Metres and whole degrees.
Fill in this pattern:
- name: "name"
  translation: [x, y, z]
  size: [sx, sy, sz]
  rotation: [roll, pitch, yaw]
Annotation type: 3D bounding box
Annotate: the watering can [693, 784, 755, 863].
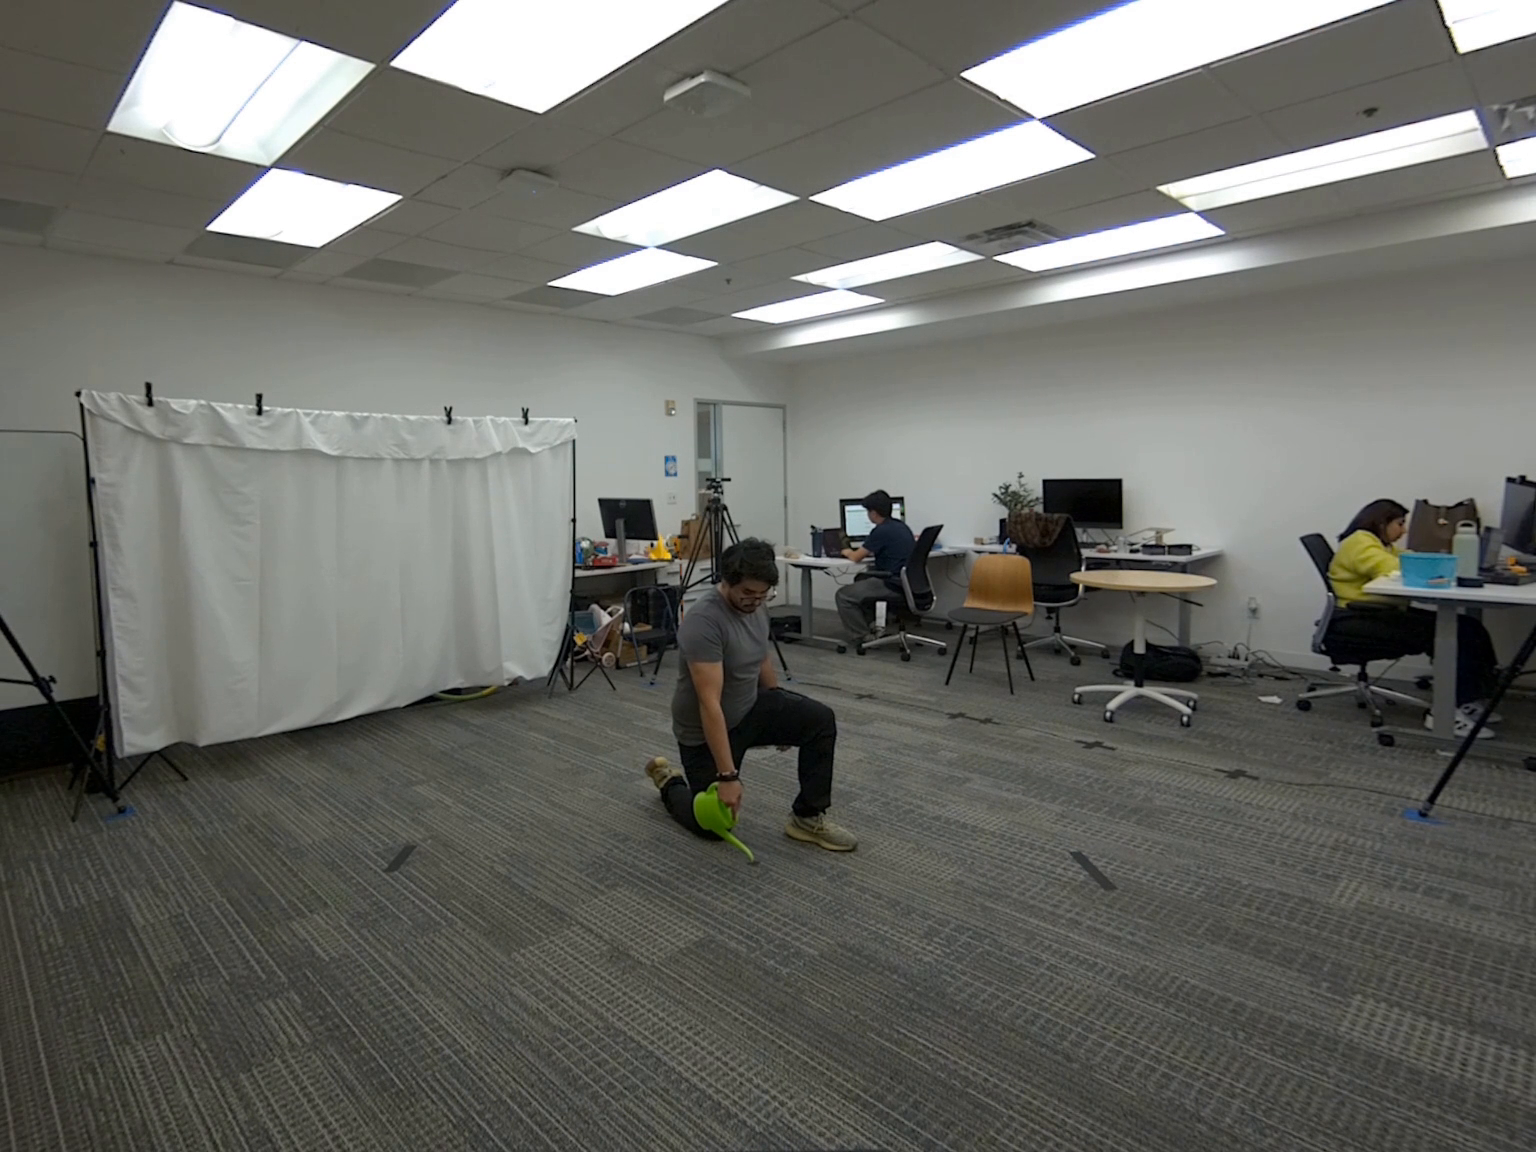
- name: "watering can"
  translation: [-0.160, 0.871, 2.996]
  size: [0.095, 0.282, 0.180]
  rotation: [2, -17, -43]
